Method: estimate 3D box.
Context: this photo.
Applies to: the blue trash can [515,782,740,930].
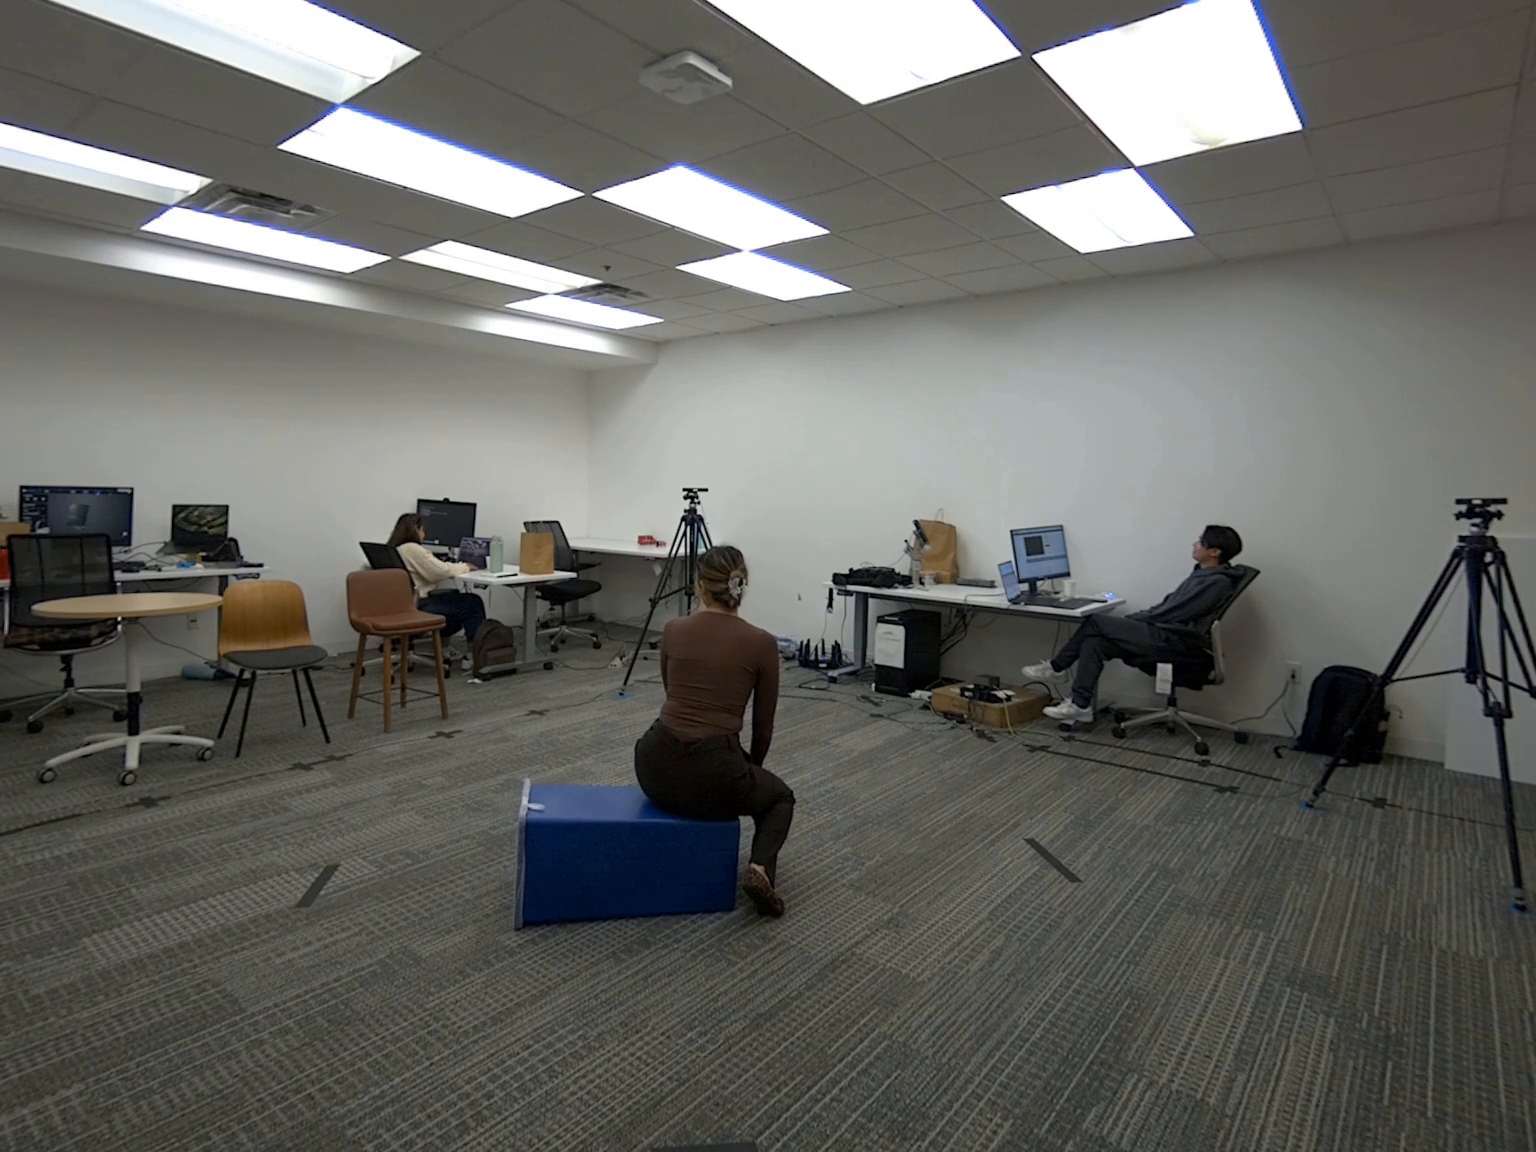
[{"bbox_3d":[-0.499,0.920,2.891,0.704,0.377,0.380,3,3,-12],"label":"blue trash can"}]
